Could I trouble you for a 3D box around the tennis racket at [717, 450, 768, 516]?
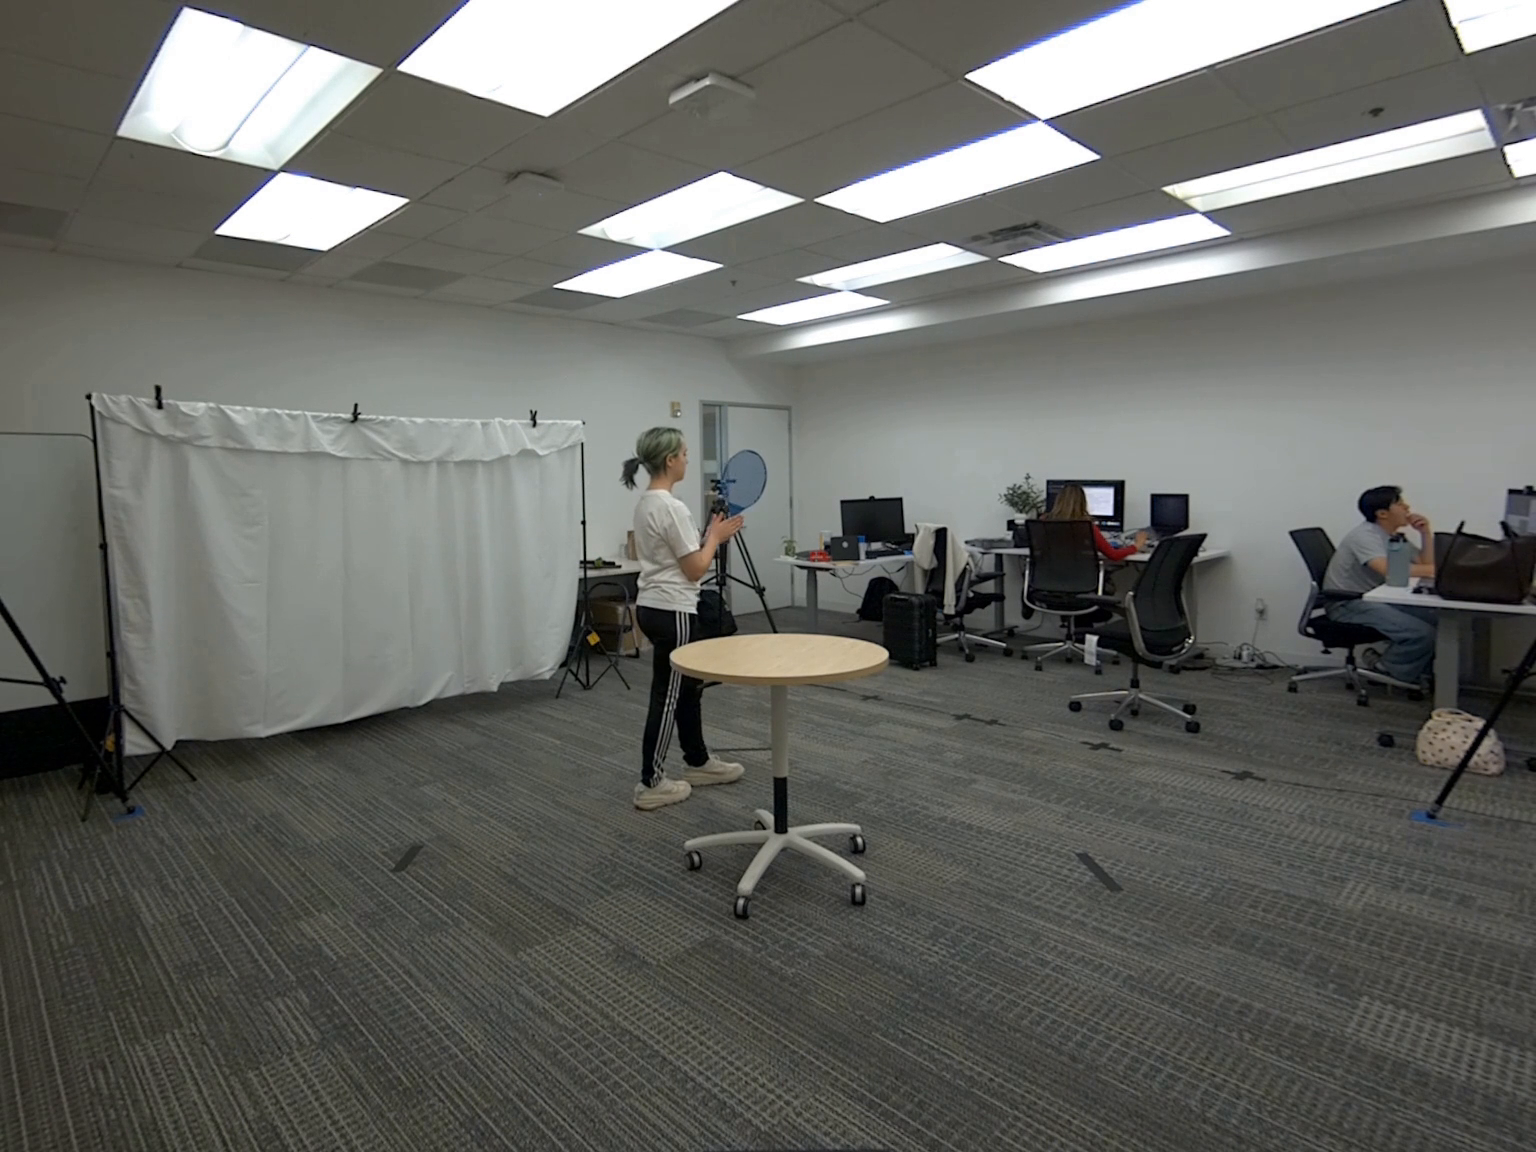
[{"bbox_3d":[-0.134,-0.356,3.811,0.212,0.433,0.032,22,-3,-7],"label":"tennis racket"}]
